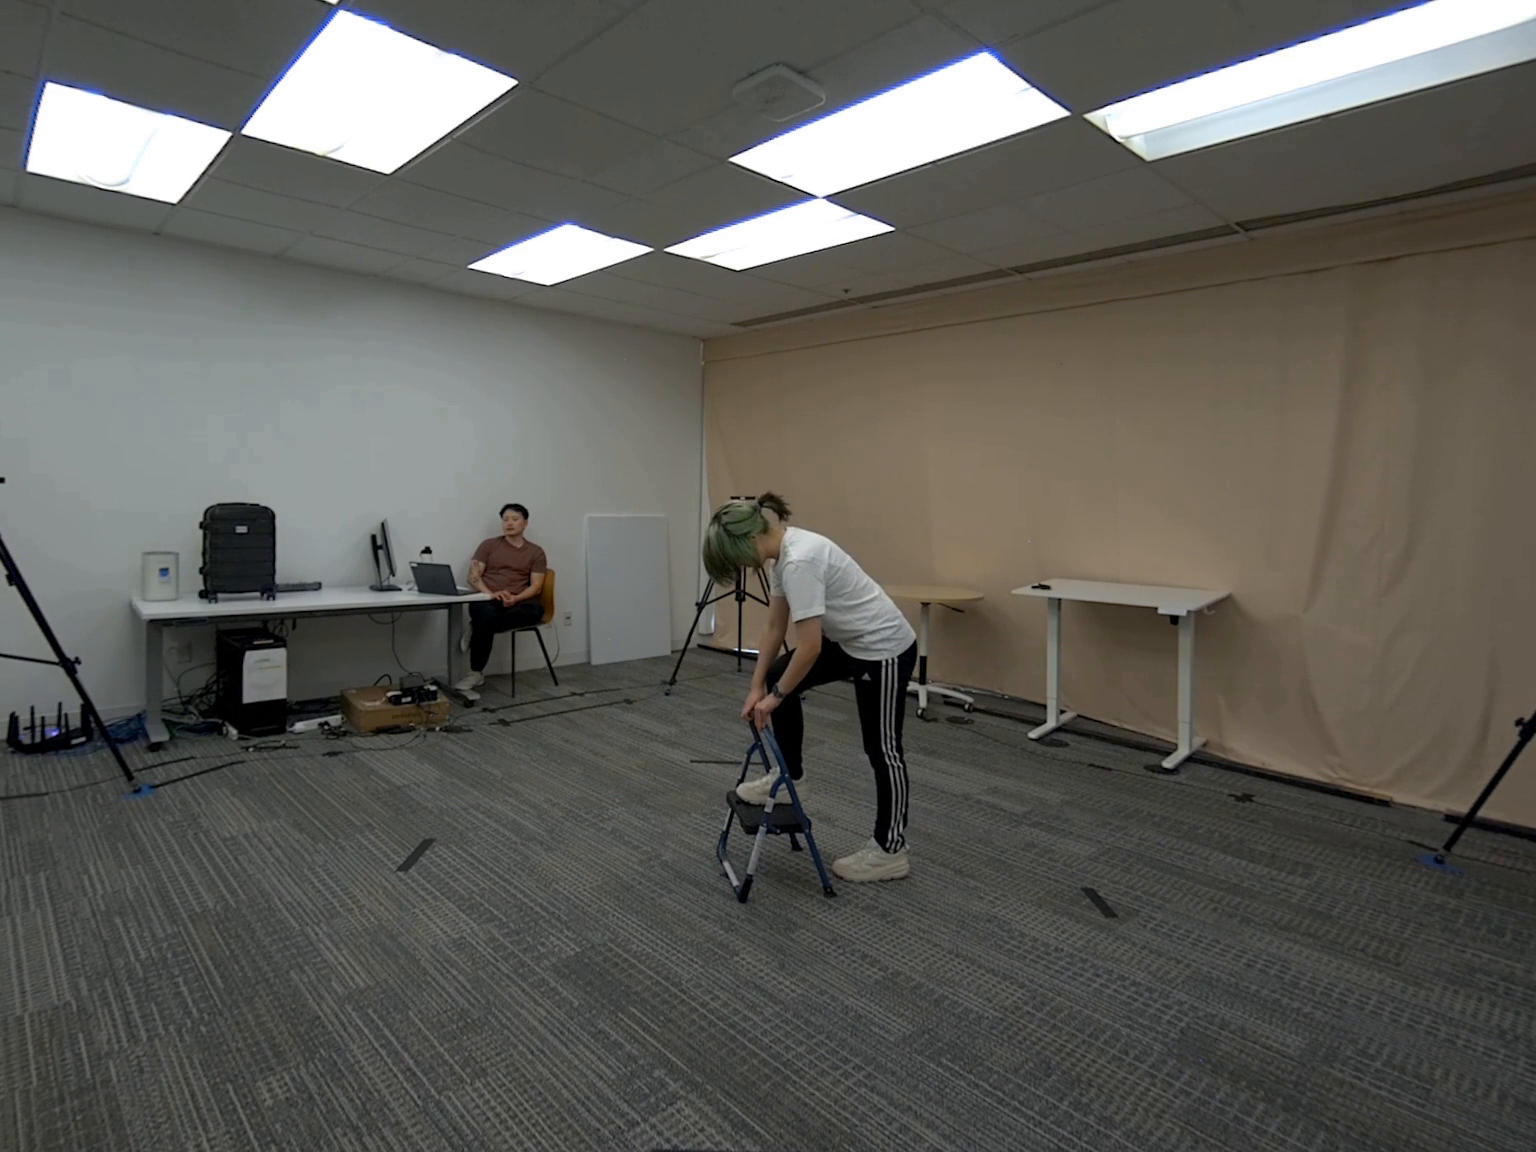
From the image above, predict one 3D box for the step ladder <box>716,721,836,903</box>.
[{"bbox_3d":[0.018,0.809,3.104,0.345,0.604,0.437,0,4,-15],"label":"step ladder"}]
